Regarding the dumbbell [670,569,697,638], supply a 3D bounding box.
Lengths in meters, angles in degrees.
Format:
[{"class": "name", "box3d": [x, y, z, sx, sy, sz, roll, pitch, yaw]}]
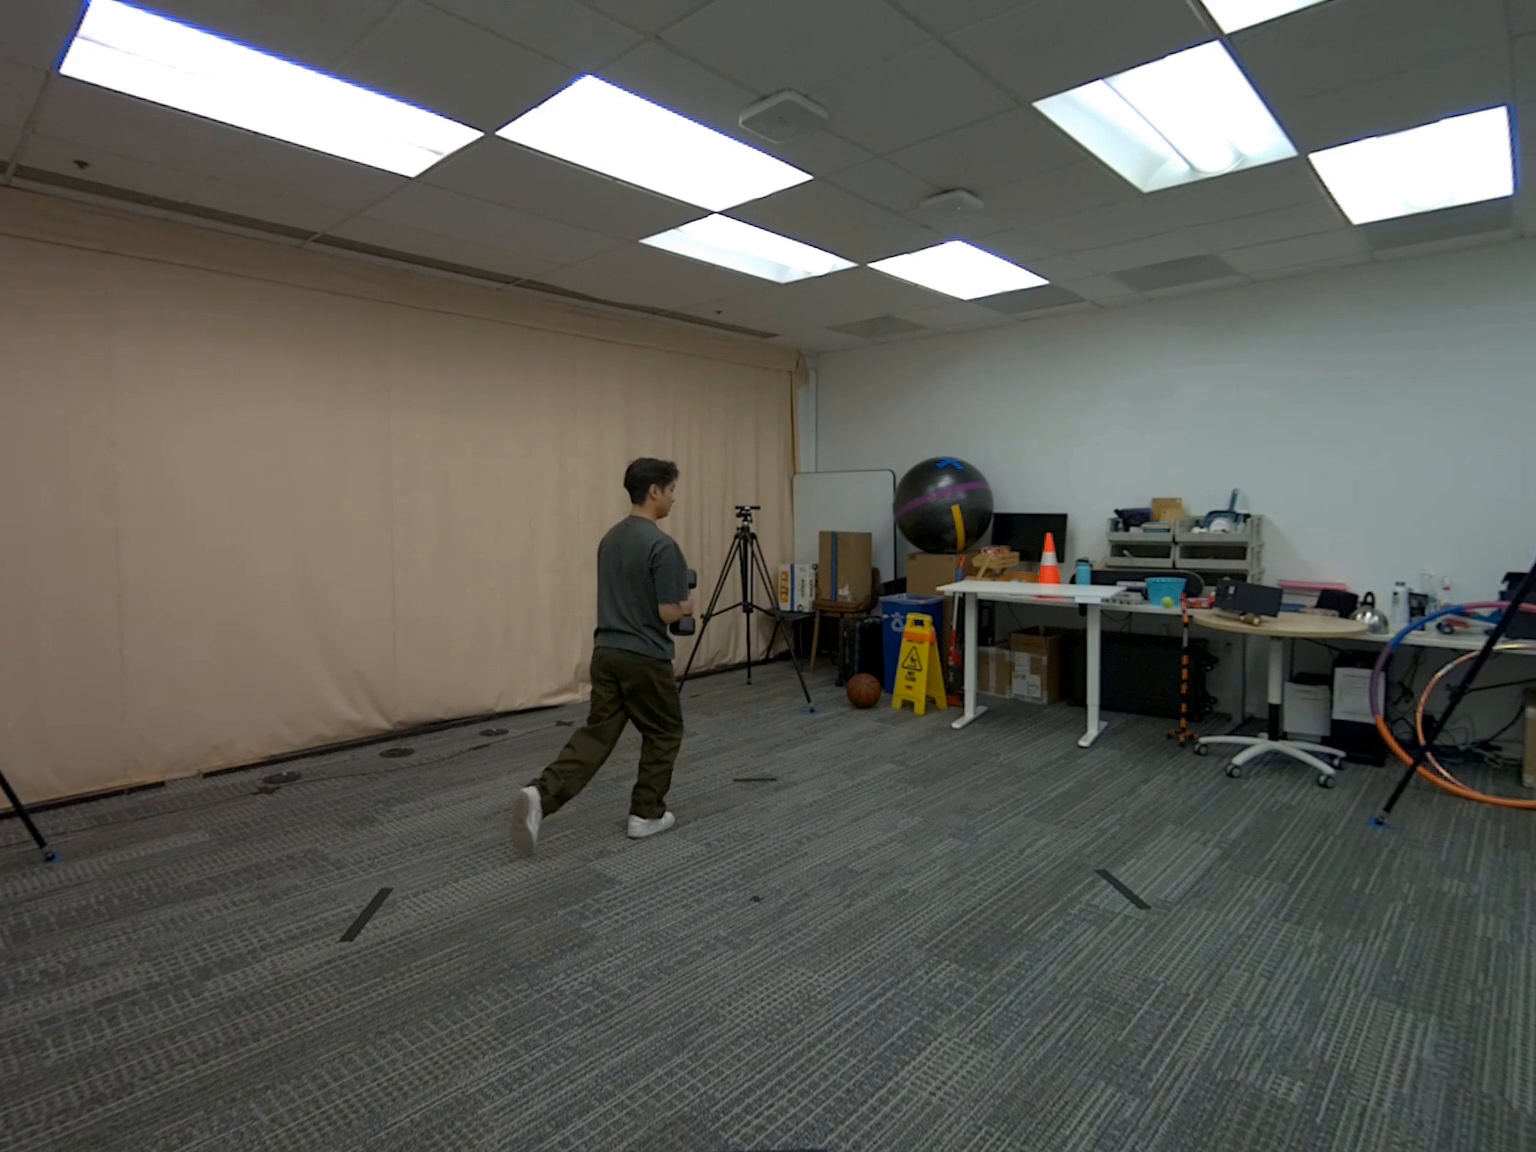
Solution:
[{"class": "dumbbell", "box3d": [-0.383, 0.120, 3.724, 0.109, 0.296, 0.121, -2, -15, 6]}]
